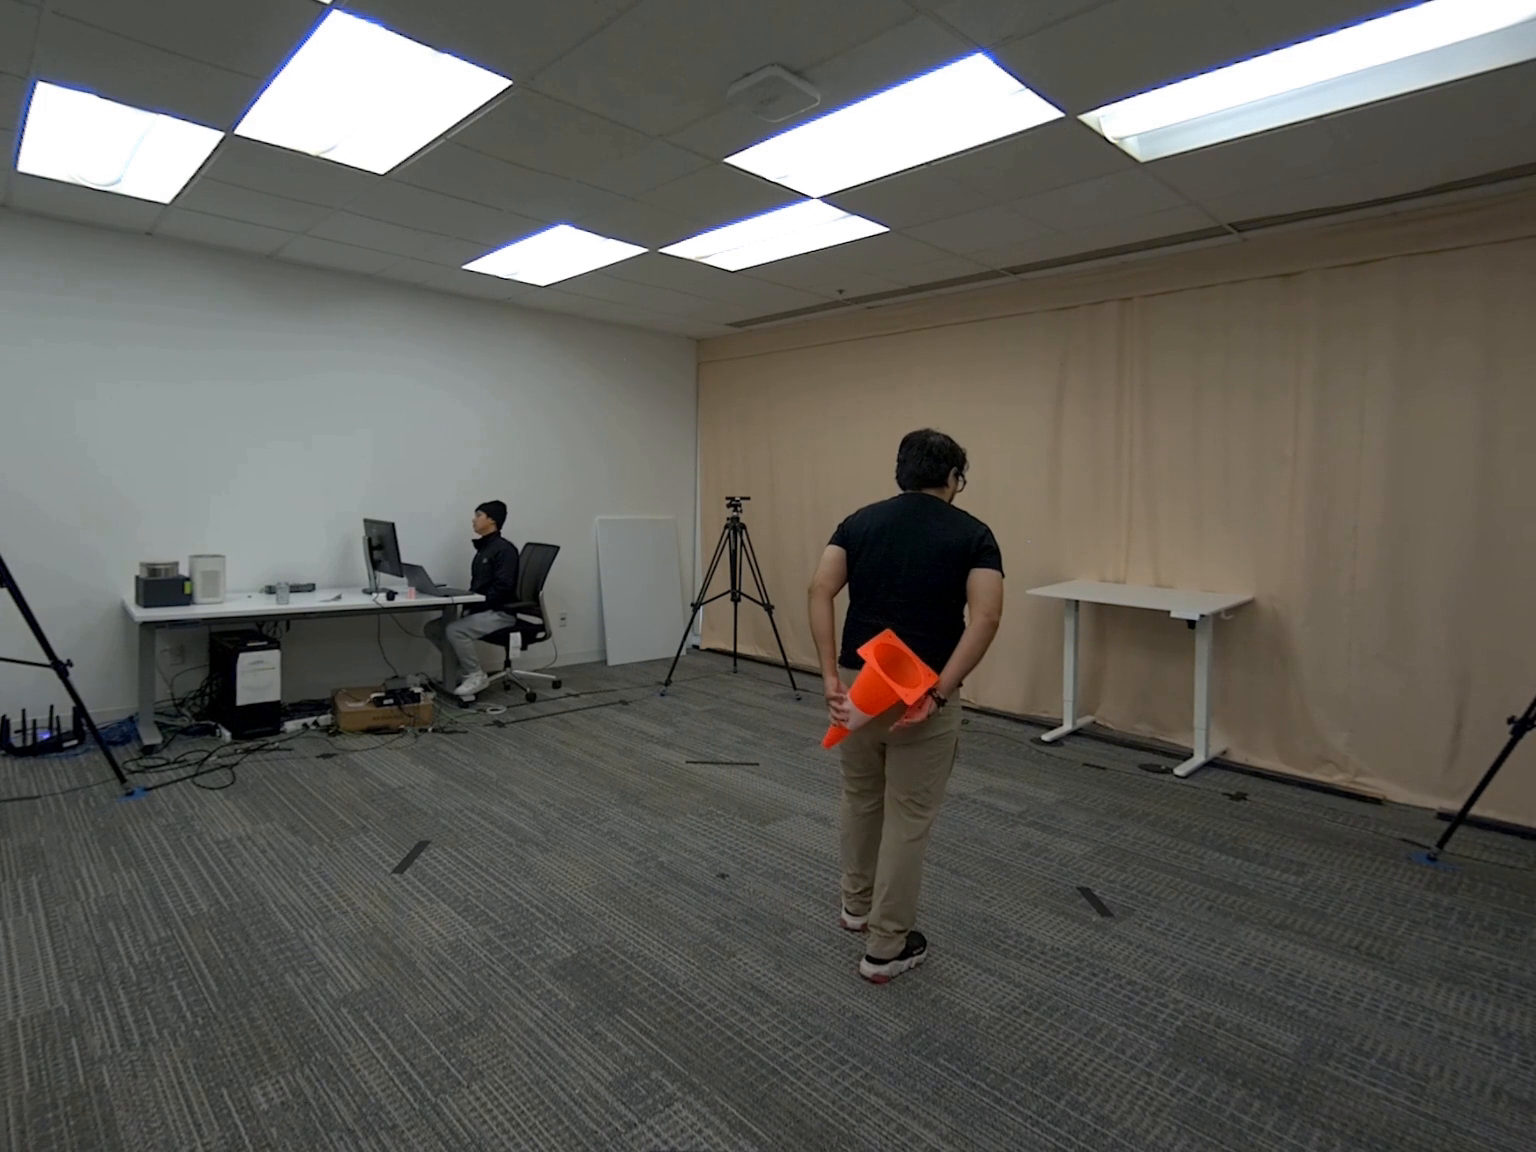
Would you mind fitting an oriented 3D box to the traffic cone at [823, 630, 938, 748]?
[{"bbox_3d":[0.258,0.376,2.393,0.207,0.381,0.202,44,35,18],"label":"traffic cone"}]
